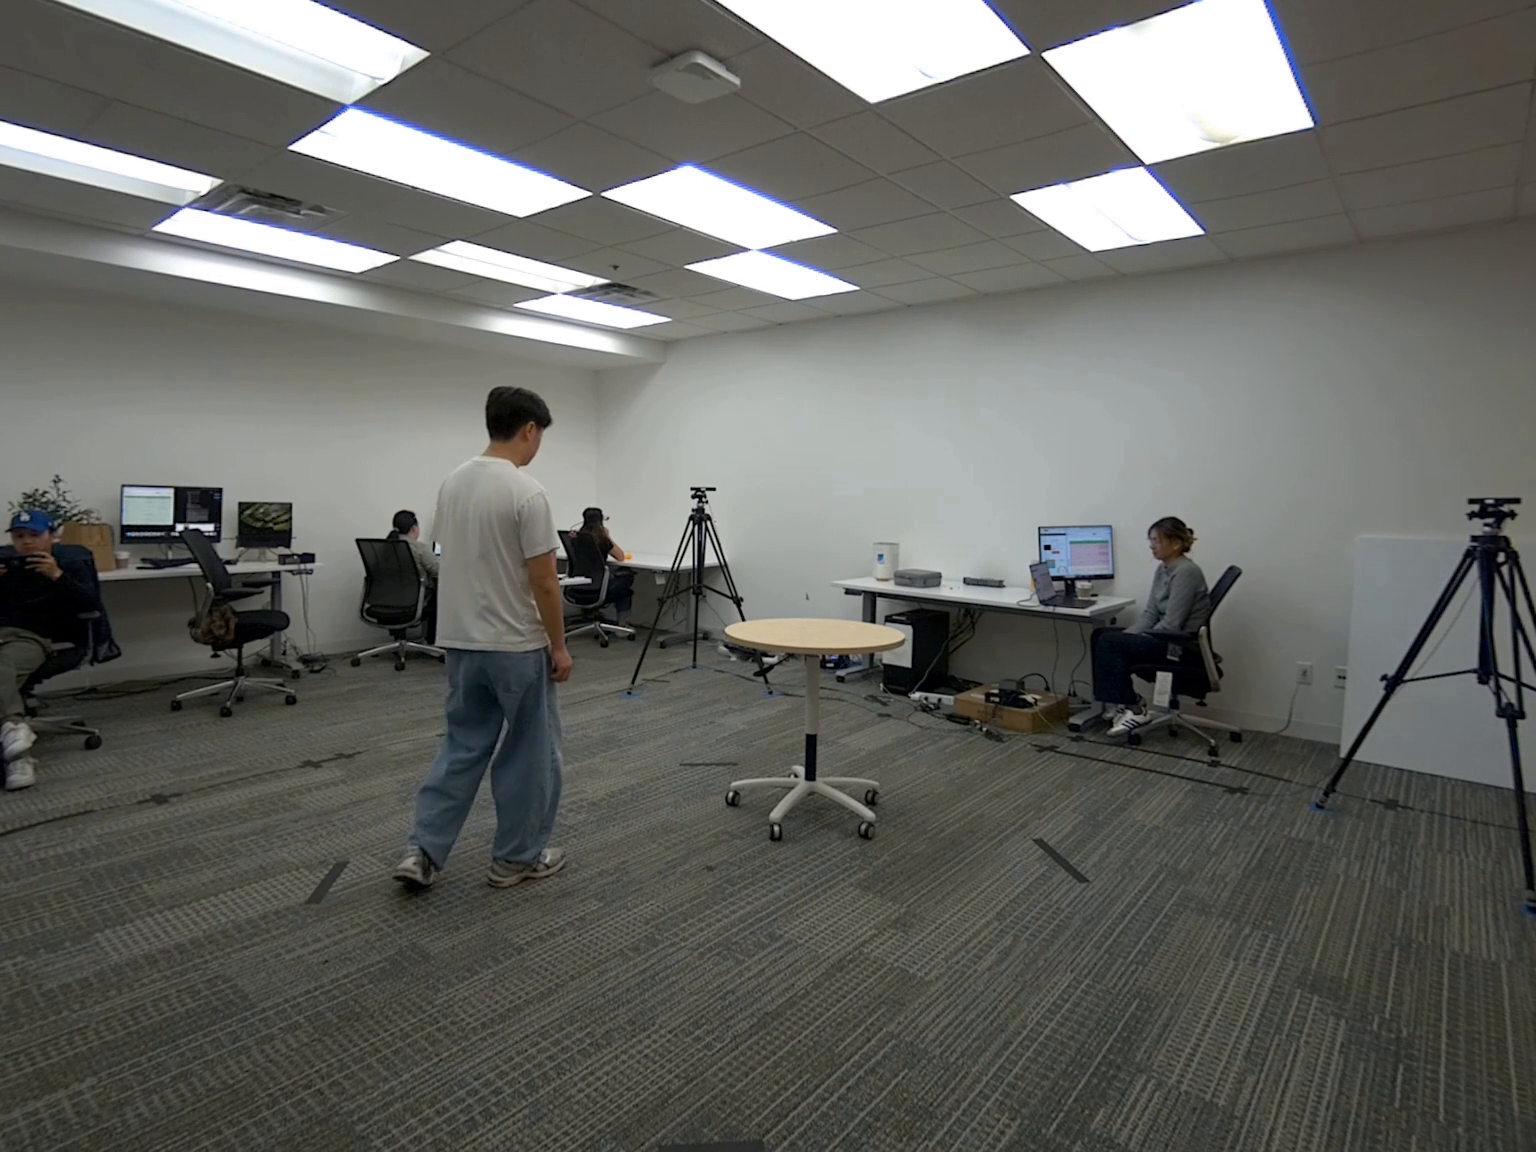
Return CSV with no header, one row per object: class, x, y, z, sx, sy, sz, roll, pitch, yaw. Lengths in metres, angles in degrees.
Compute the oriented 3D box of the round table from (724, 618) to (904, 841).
round table,0.174,0.632,3.670,0.763,0.791,0.768,1,4,-2
